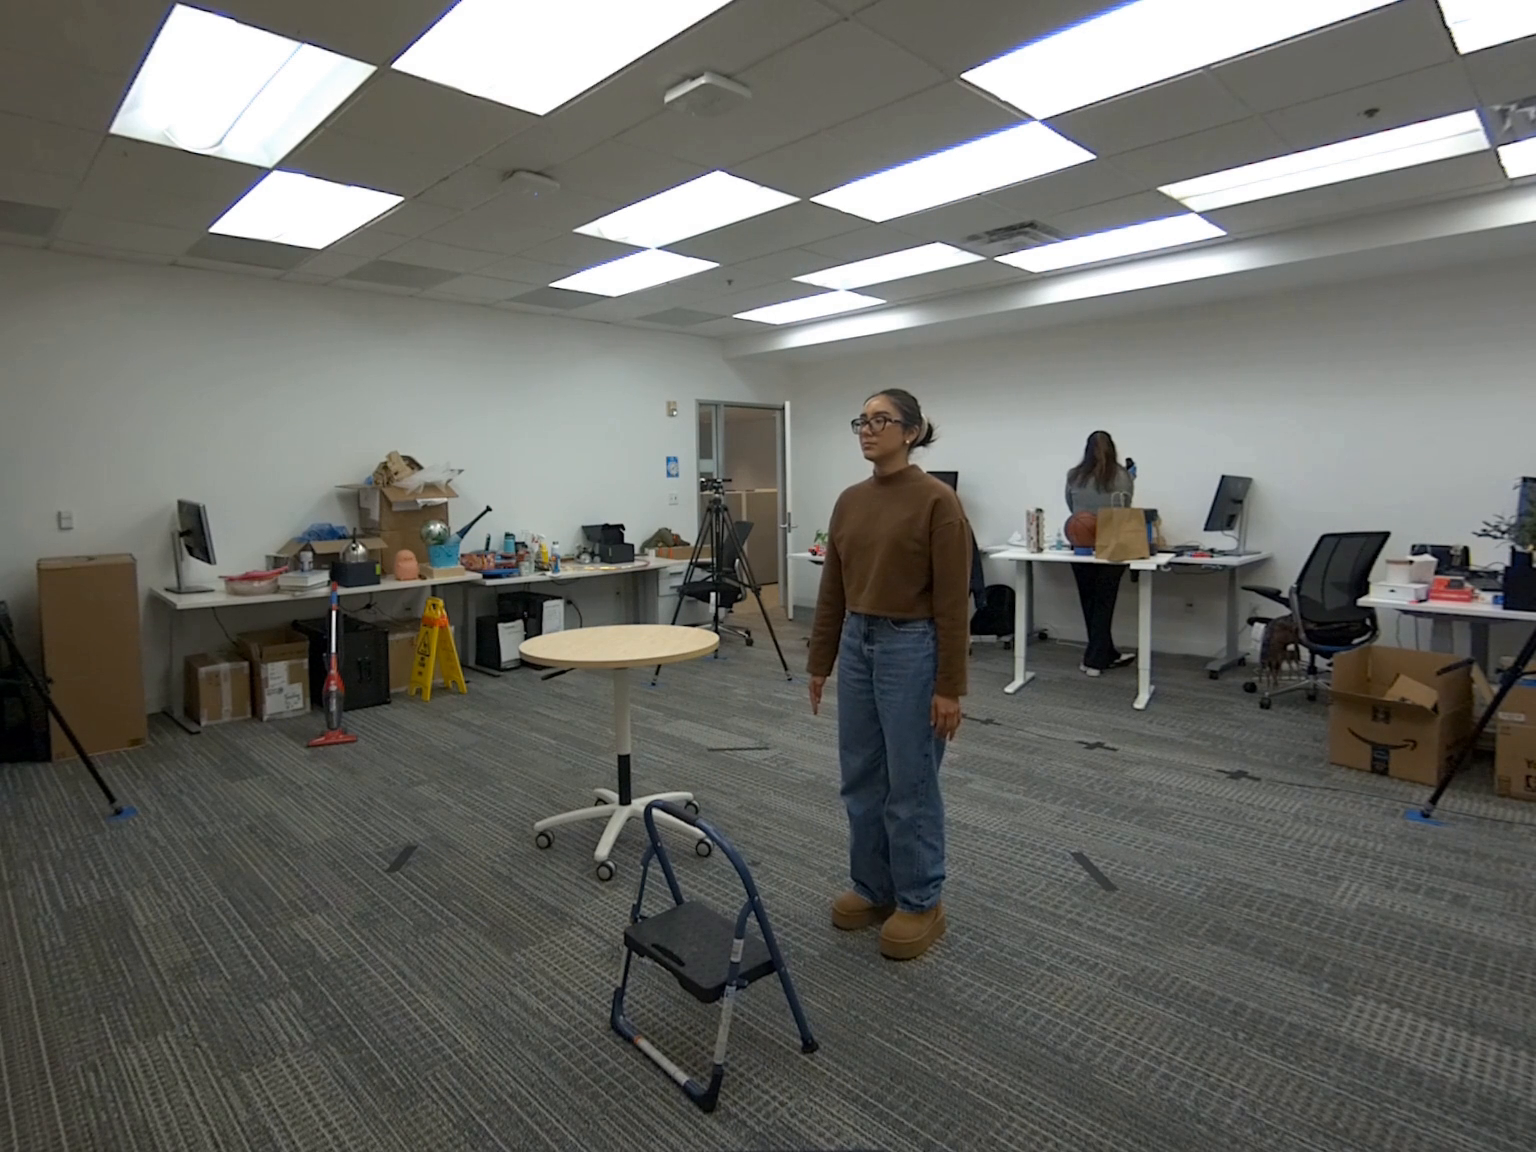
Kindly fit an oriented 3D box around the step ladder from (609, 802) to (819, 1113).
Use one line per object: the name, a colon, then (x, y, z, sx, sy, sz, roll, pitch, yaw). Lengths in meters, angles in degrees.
step ladder: (-0.147, 0.864, 2.128, 0.340, 0.604, 0.444, -5, 6, -42)
